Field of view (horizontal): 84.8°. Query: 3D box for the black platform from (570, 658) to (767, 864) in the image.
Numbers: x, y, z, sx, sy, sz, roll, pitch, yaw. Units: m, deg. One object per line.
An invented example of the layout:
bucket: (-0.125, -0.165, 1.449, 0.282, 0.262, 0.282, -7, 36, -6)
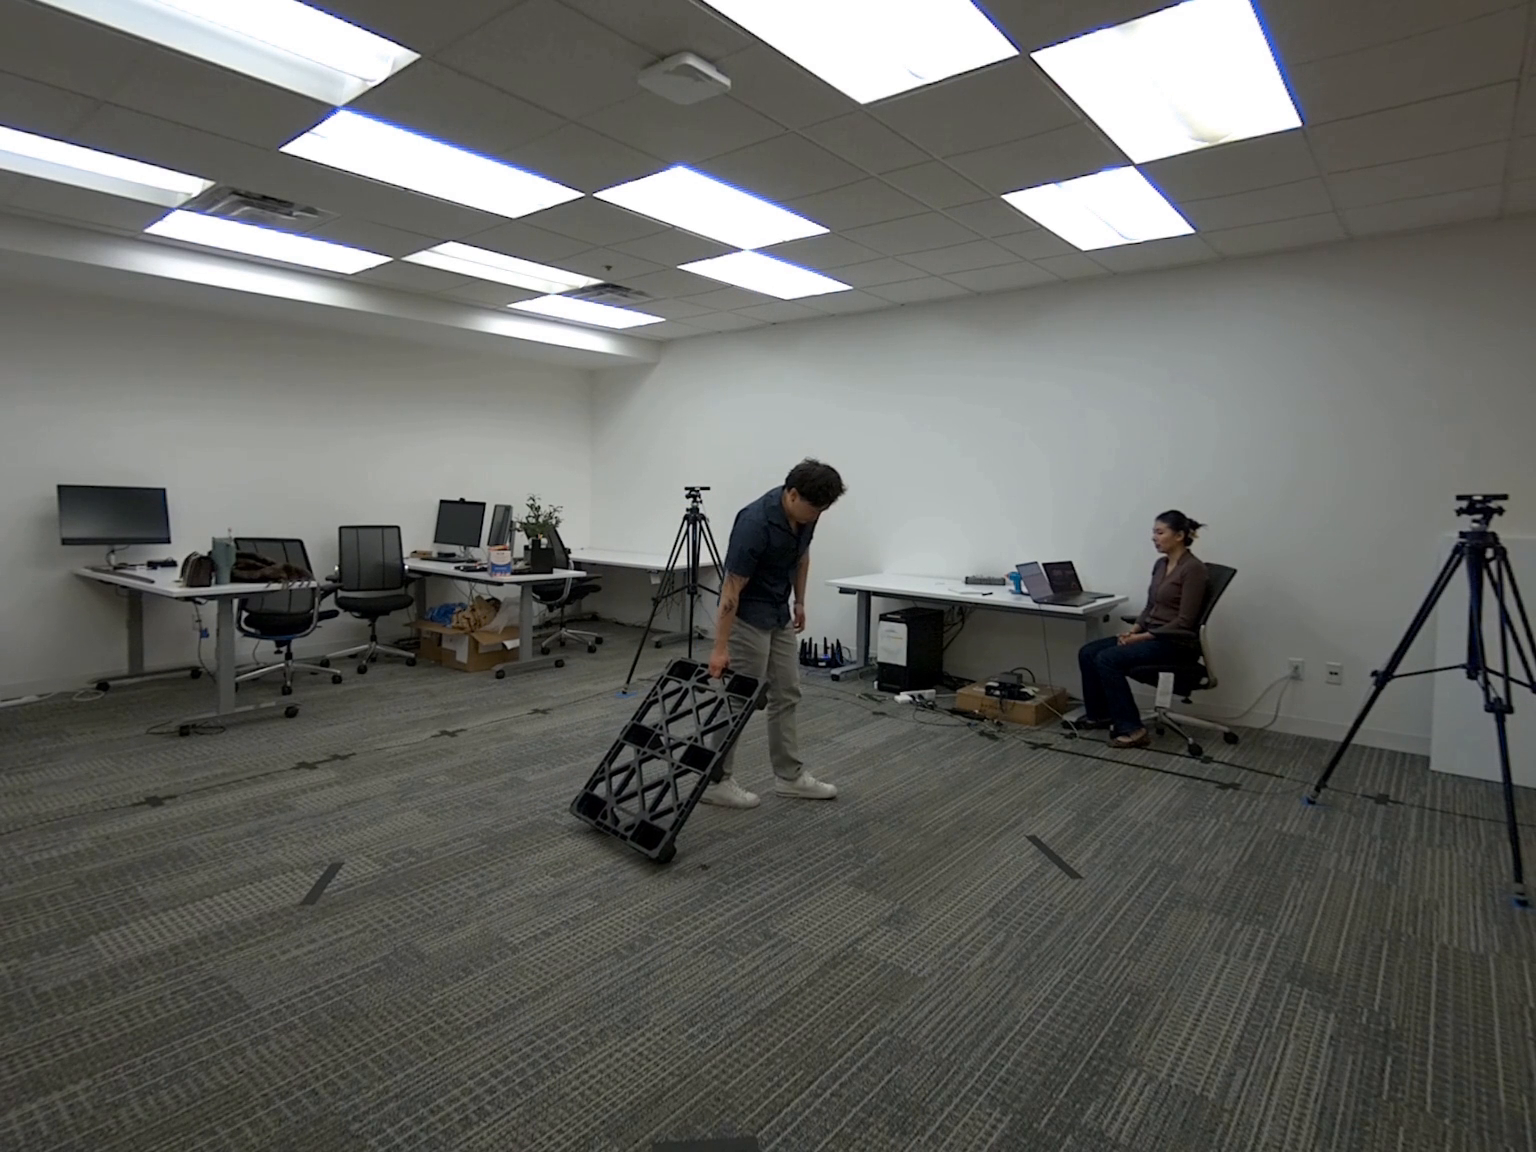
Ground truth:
black platform: (-0.389, 0.722, 3.452, 0.626, 0.809, 0.138, 5, -37, 46)
